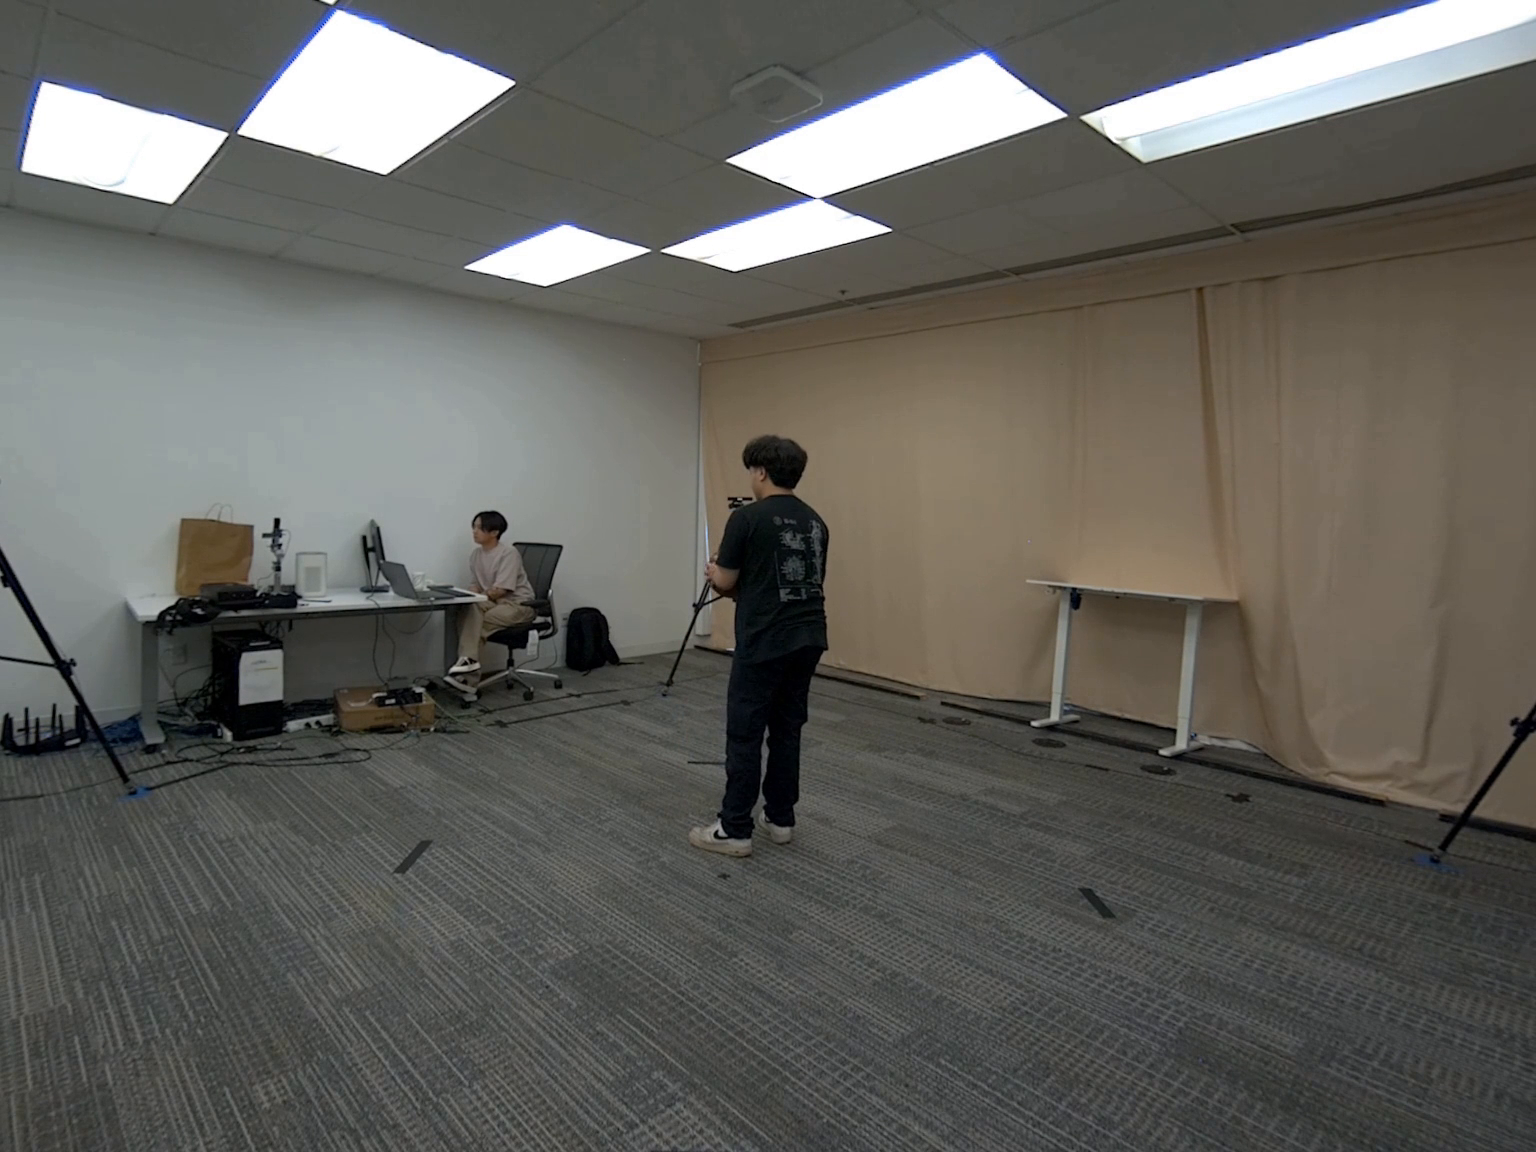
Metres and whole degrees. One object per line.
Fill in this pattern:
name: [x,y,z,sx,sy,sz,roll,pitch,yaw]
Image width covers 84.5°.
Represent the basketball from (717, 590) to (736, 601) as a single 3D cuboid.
basketball: [-0.156,-0.009,3.807,0.236,0.235,0.237,1,4,-1]
